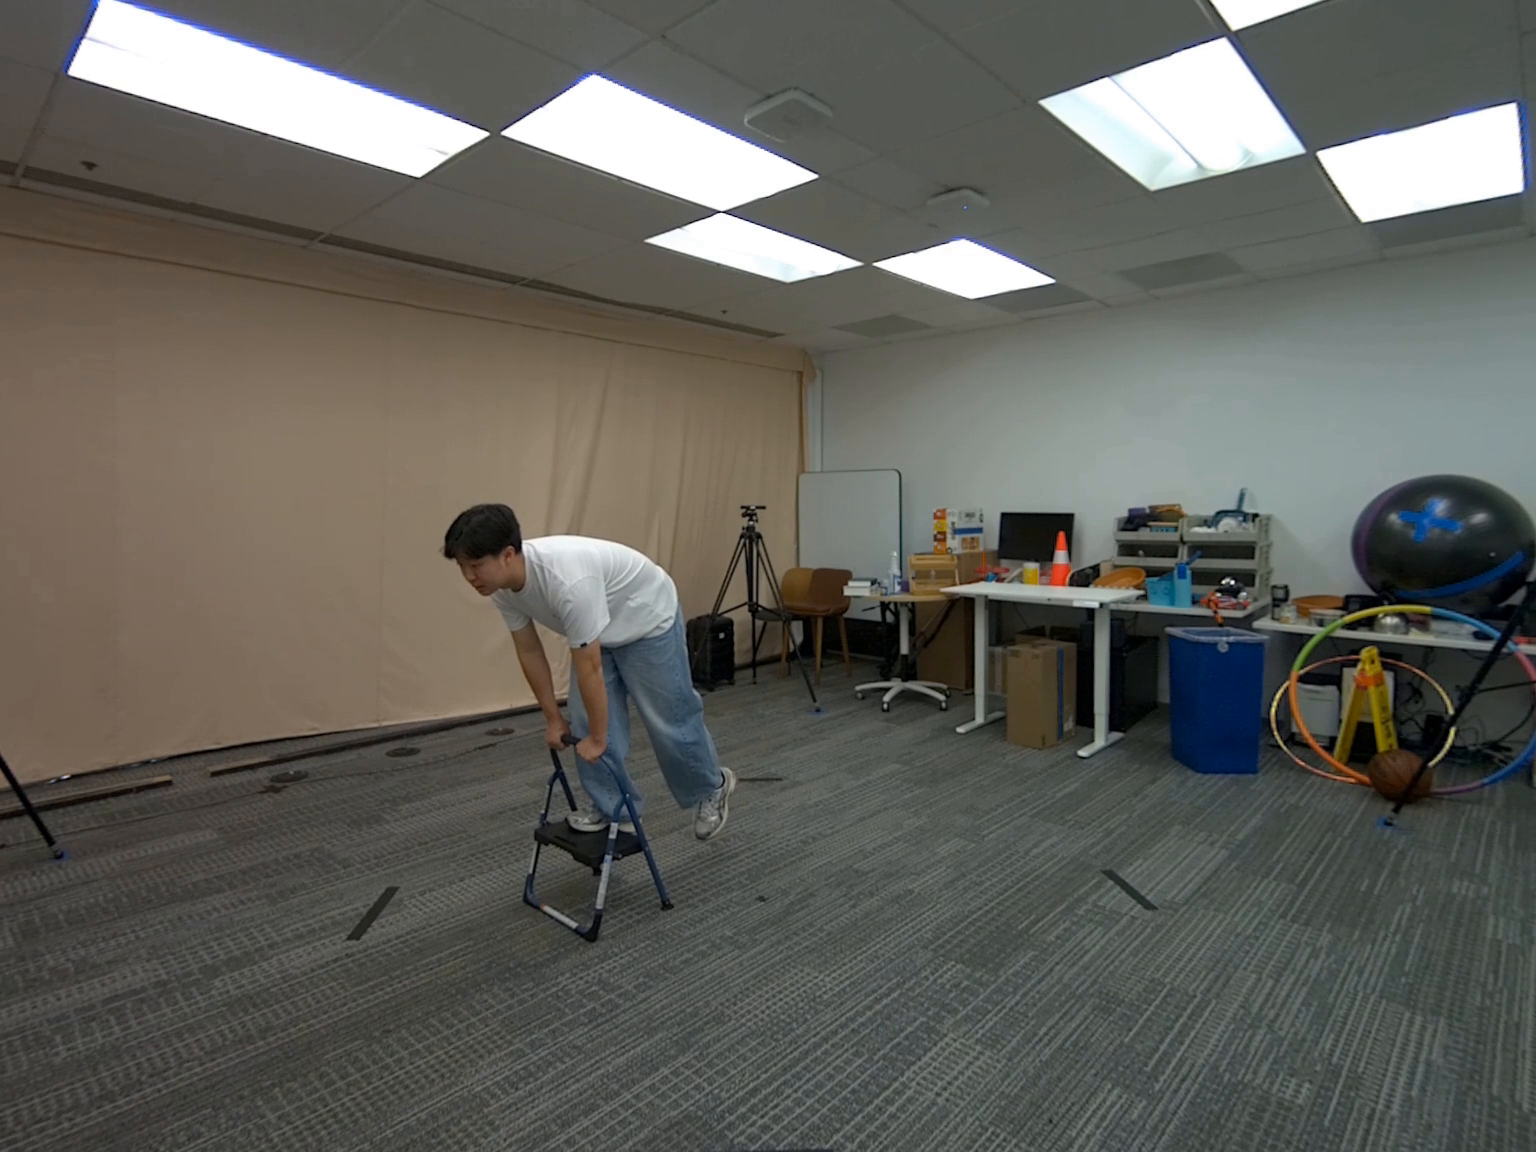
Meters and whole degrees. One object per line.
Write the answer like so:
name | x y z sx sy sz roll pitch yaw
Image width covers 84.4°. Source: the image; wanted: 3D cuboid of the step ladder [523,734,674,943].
step ladder | -0.604 0.850 2.933 0.445 0.605 0.338 2 4 43
